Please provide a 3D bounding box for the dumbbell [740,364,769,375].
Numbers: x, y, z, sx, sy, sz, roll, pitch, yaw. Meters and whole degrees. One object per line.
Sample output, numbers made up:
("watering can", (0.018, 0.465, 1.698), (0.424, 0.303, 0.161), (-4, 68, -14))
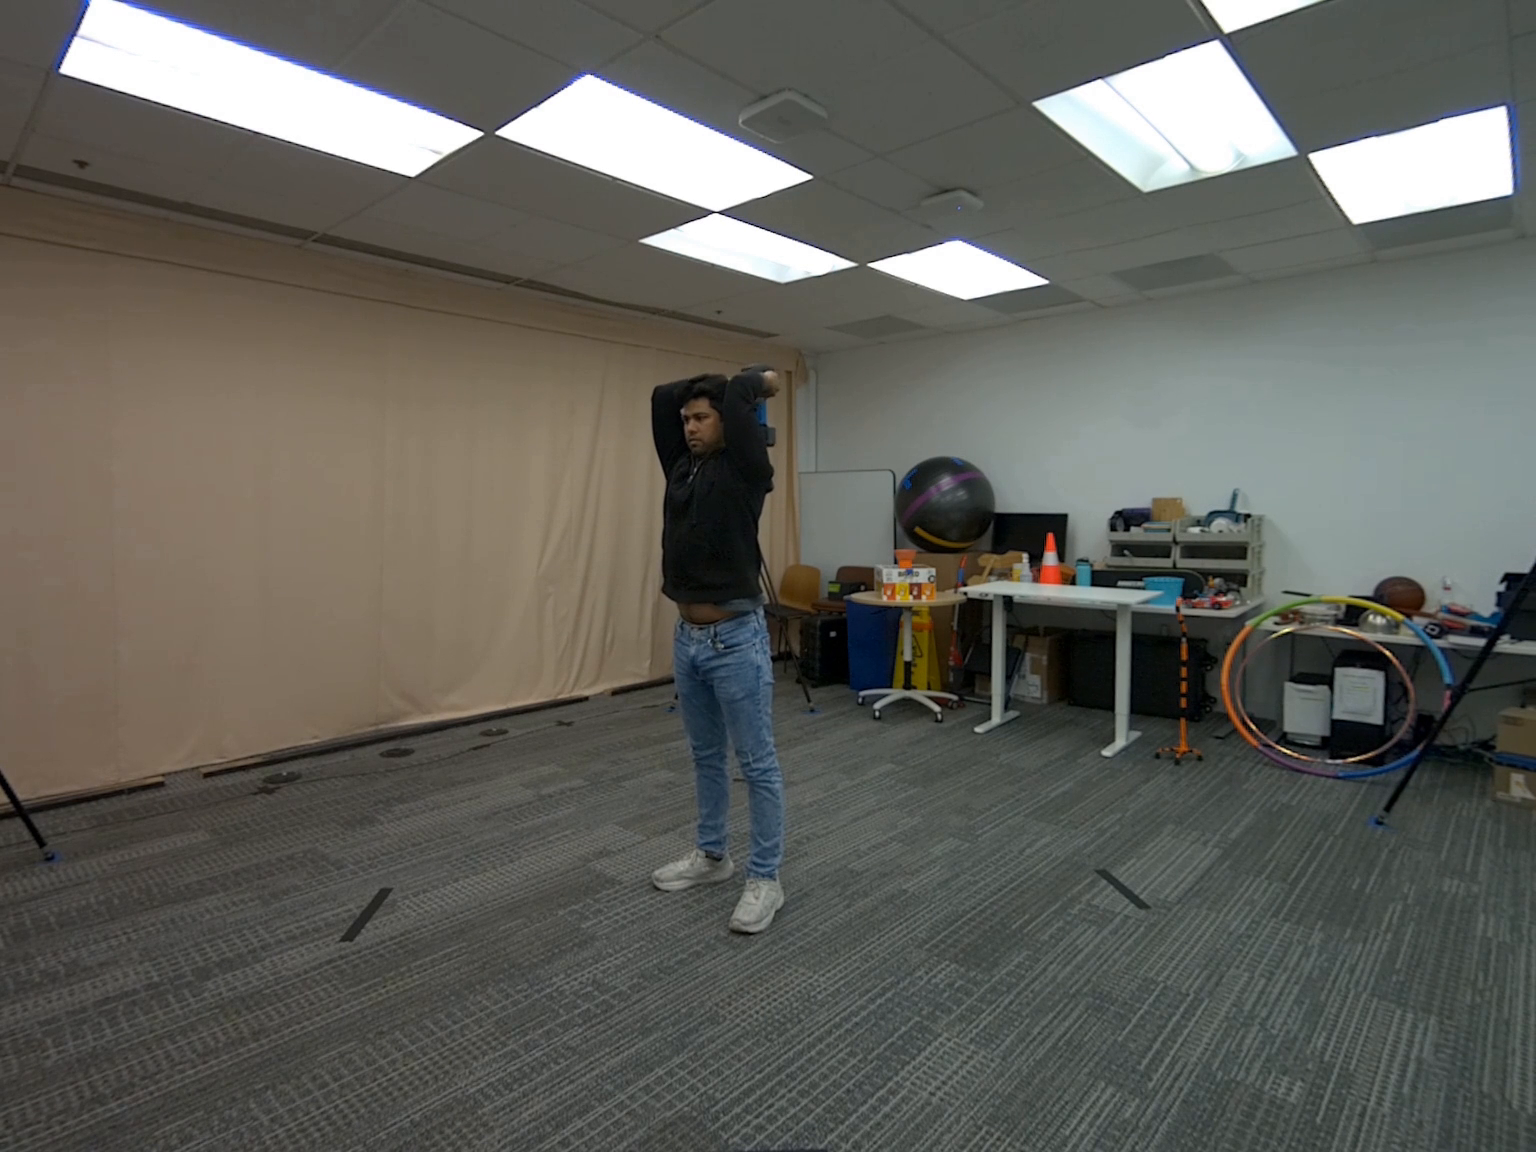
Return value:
("dumbbell", (-0.034, -0.612, 3.027), (0.105, 0.292, 0.127), (-6, 8, -39))
